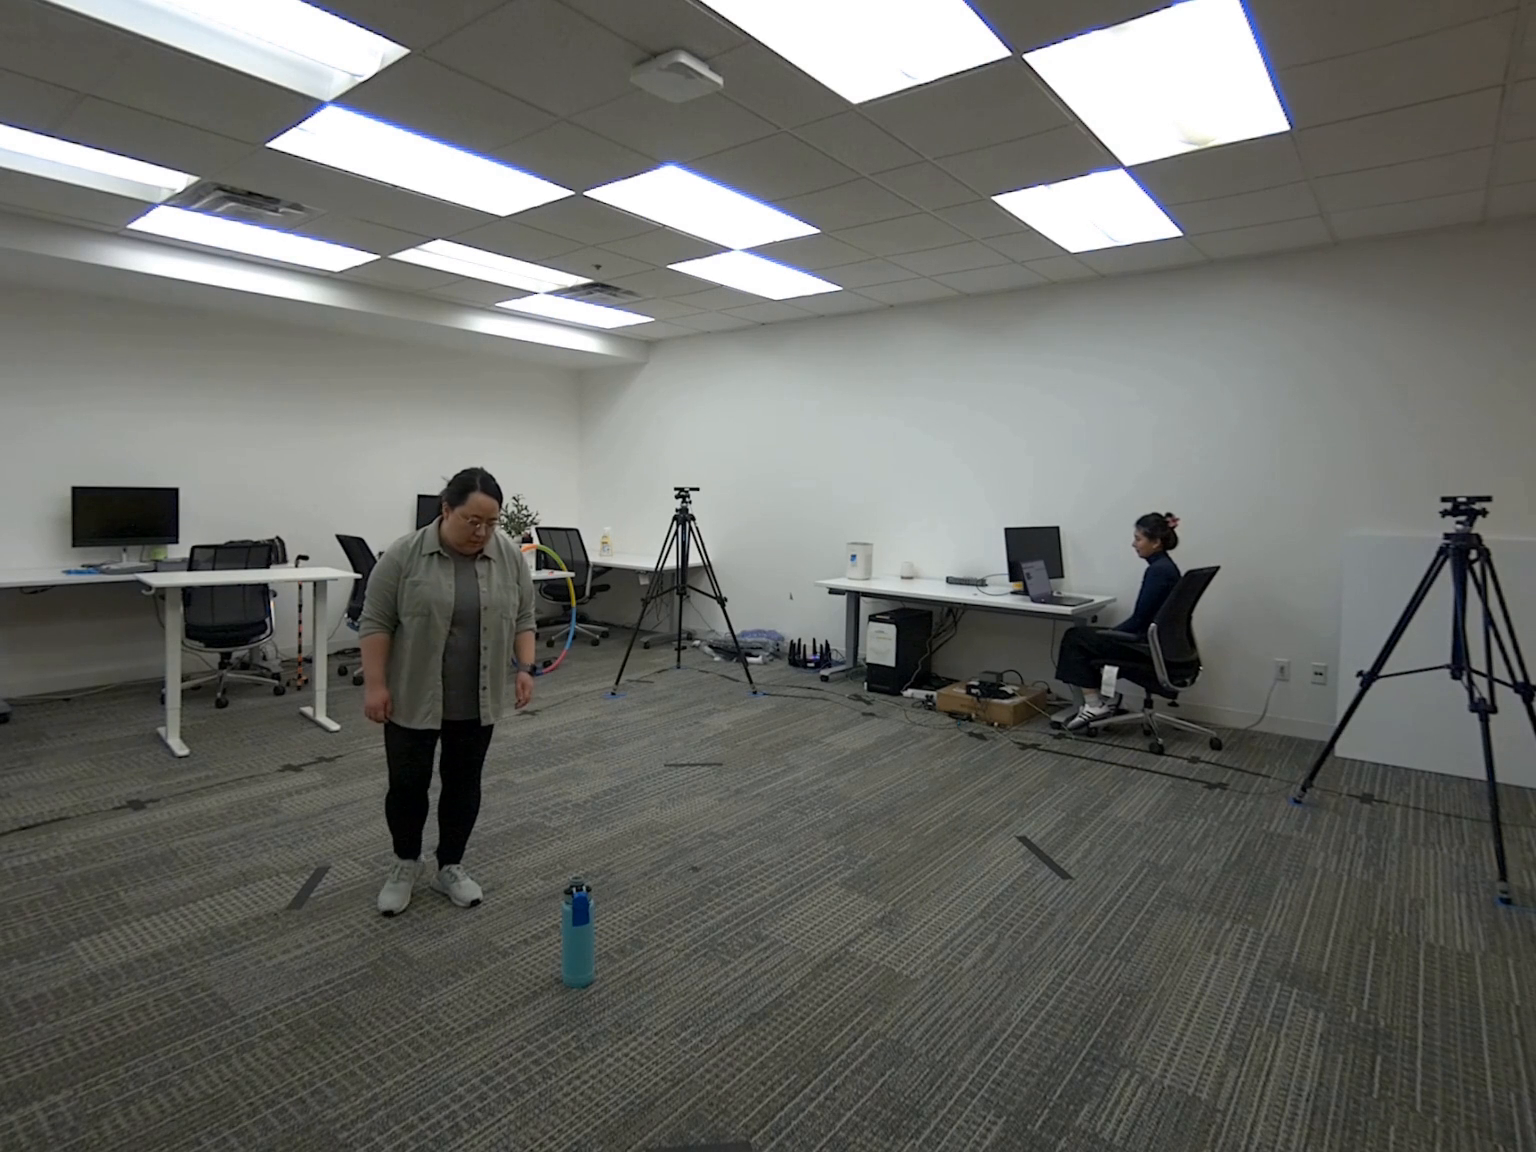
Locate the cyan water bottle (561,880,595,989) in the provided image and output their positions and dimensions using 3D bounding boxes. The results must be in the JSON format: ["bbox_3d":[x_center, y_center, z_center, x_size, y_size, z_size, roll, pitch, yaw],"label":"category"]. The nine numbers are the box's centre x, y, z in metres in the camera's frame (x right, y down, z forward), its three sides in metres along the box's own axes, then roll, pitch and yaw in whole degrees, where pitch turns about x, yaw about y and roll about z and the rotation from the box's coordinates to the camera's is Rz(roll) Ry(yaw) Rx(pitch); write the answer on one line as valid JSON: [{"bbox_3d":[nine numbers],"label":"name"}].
[{"bbox_3d":[-0.546,0.997,2.384,0.092,0.282,0.093,-2,5,-2],"label":"cyan water bottle"}]
